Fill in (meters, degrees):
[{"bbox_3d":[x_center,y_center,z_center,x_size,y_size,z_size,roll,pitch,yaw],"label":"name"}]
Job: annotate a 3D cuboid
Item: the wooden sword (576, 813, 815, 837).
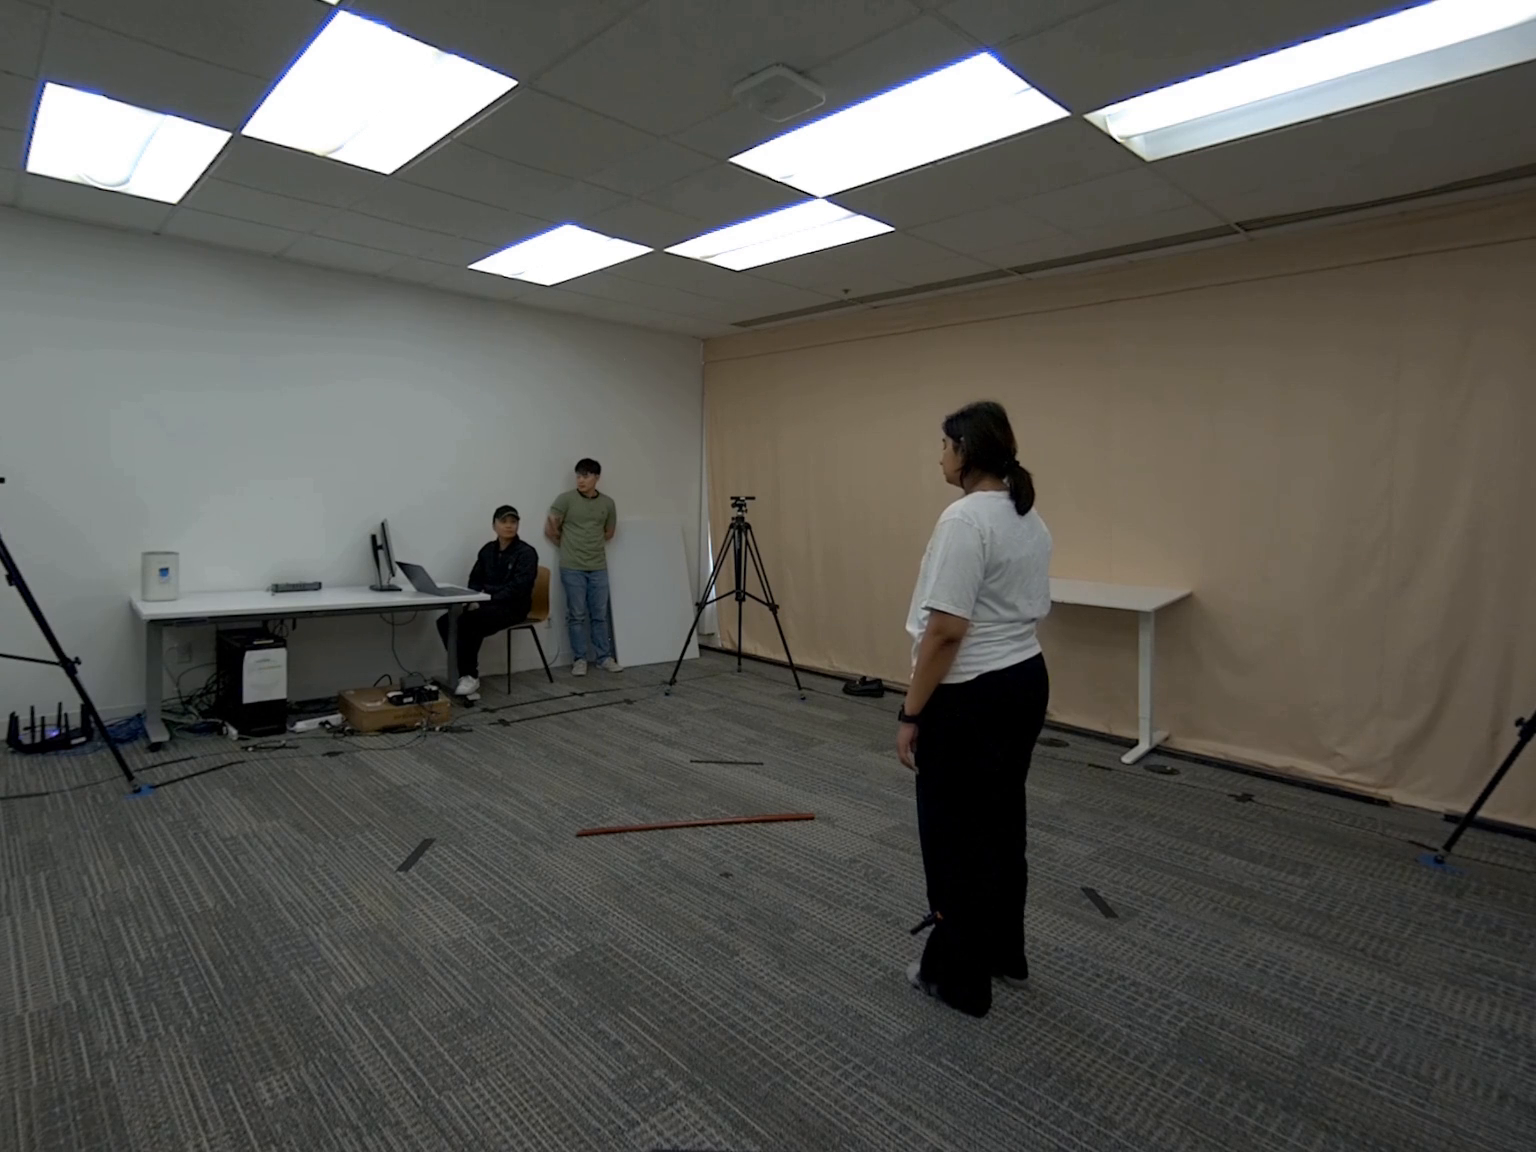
[{"bbox_3d":[-0.298,1.040,3.553,1.013,0.024,0.052,0,10,-14],"label":"wooden sword"}]
